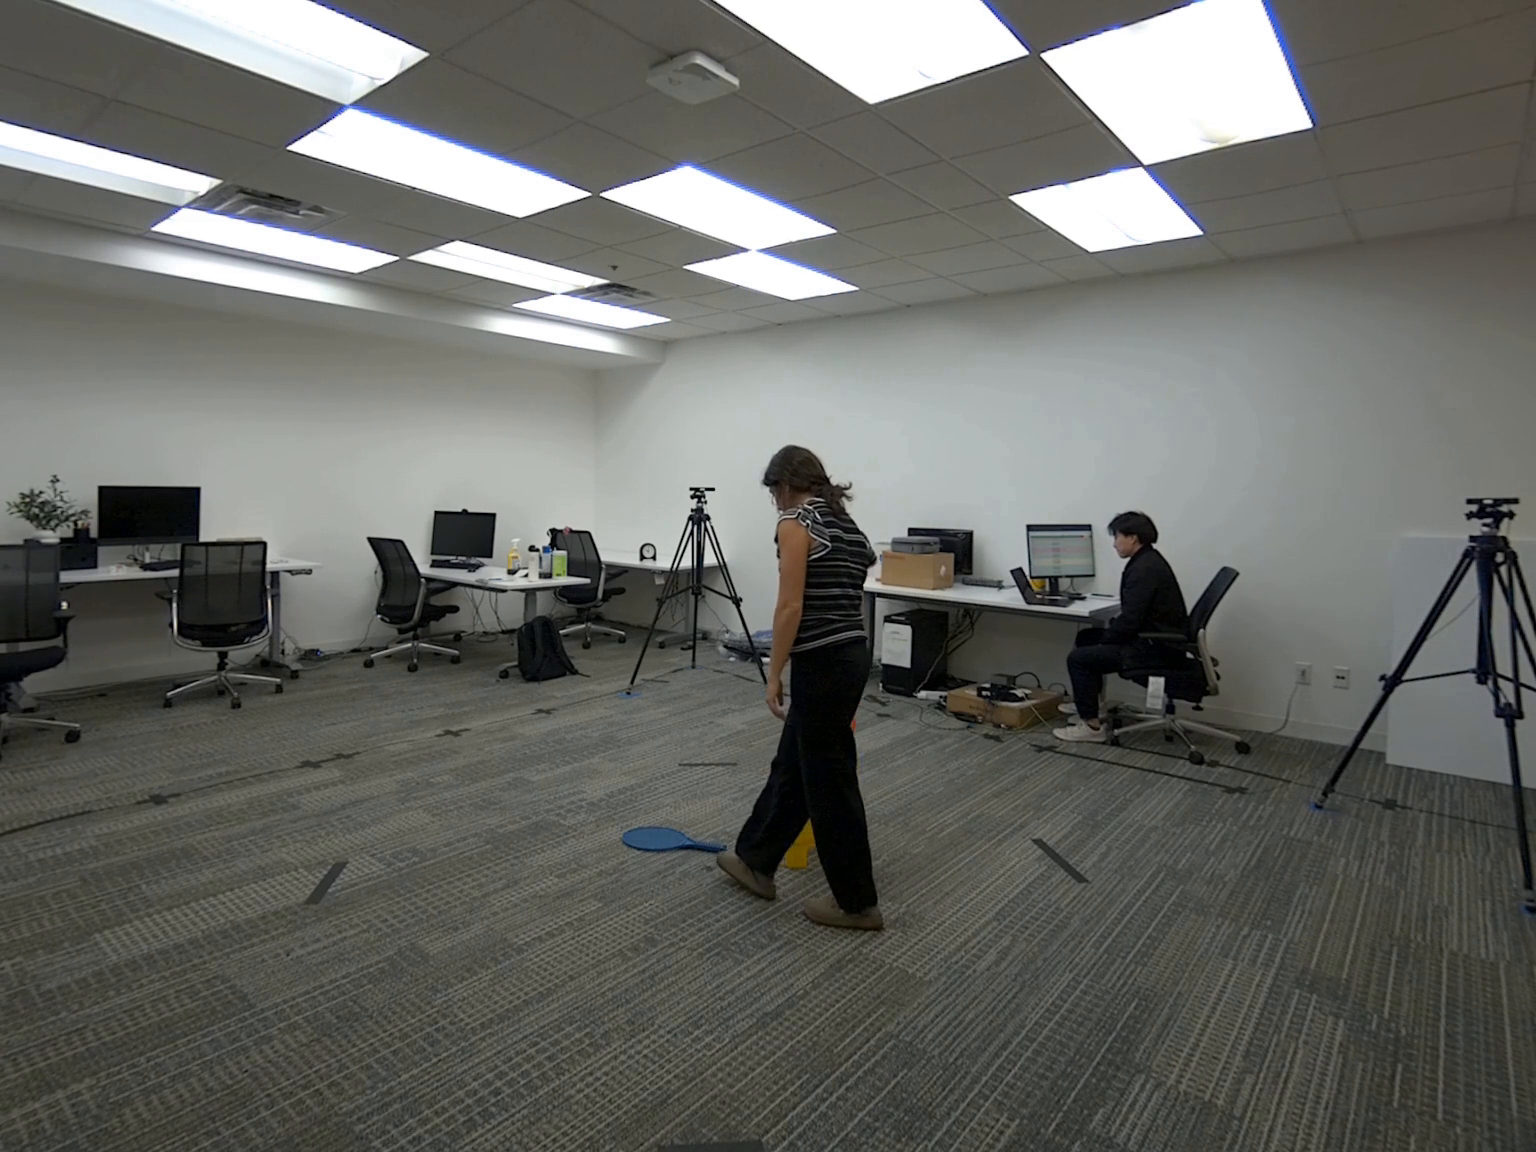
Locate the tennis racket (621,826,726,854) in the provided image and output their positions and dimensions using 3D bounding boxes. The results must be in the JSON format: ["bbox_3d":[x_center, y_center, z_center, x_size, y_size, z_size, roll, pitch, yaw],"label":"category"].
[{"bbox_3d":[-0.379,1.030,3.319,0.442,0.031,0.210,1,6,19],"label":"tennis racket"}]
